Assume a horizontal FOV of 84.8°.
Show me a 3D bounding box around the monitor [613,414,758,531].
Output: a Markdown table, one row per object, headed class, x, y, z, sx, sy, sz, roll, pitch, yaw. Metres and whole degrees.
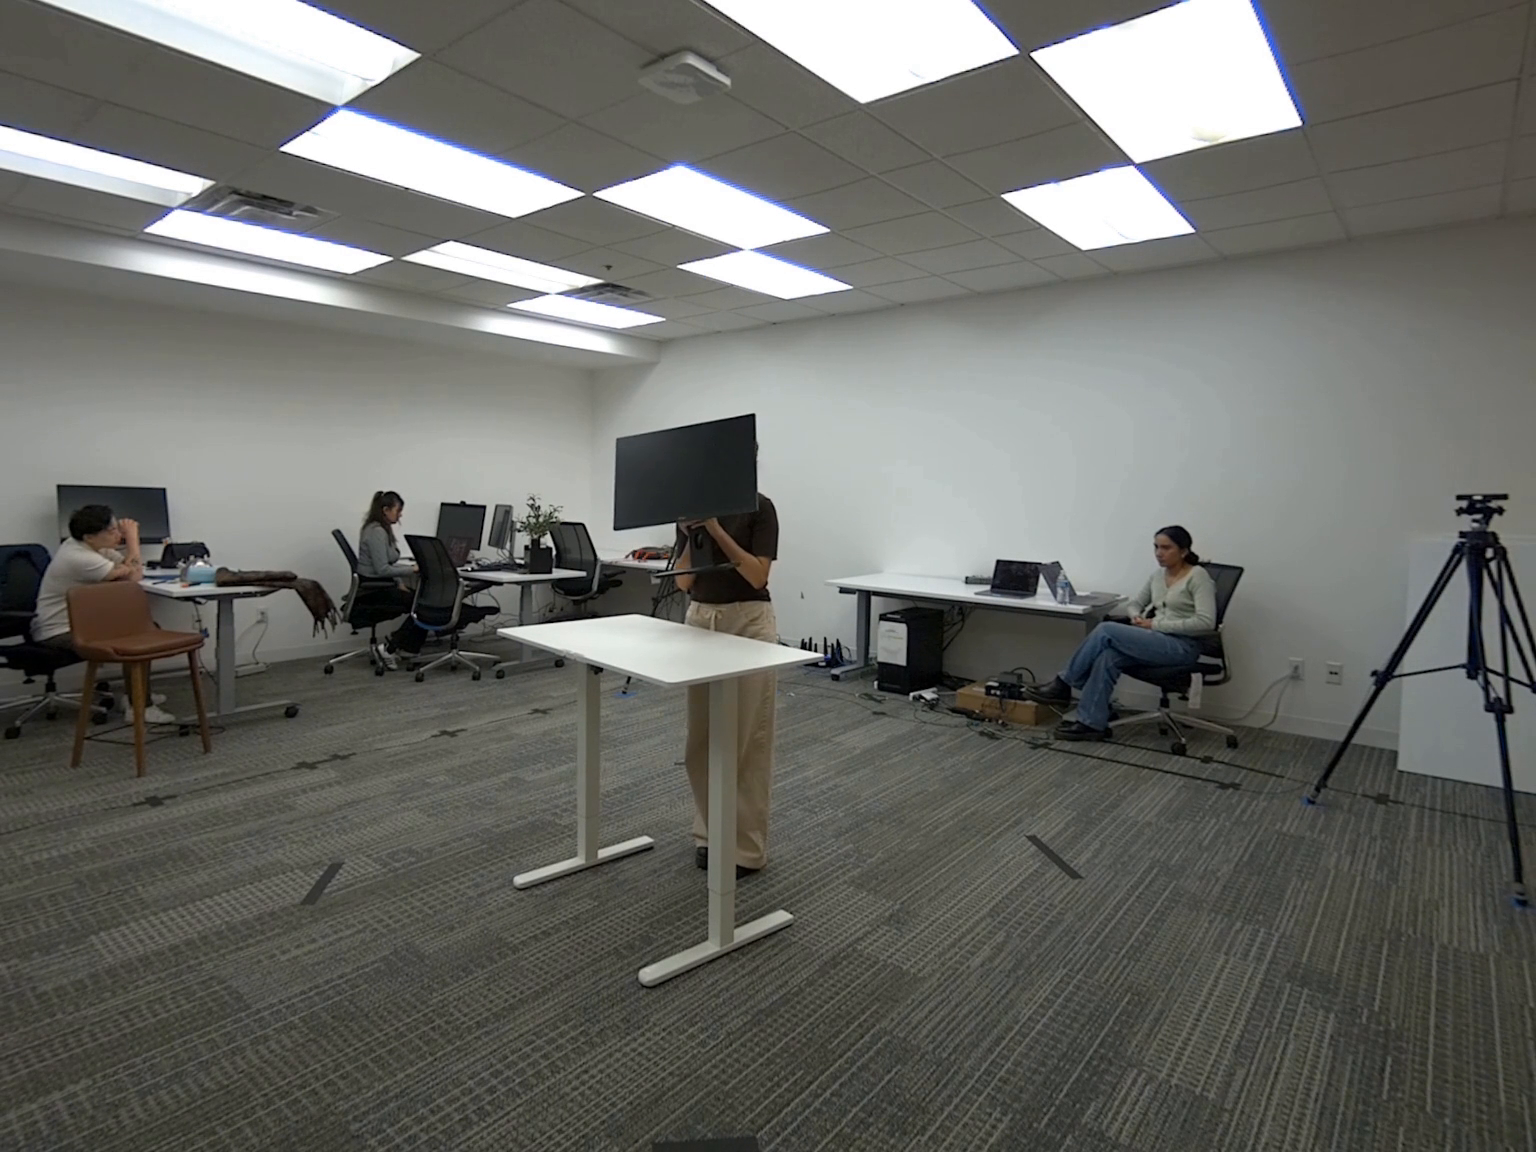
| class | x | y | z | sx | sy | sz | roll | pitch | yaw |
| --- | --- | --- | --- | --- | --- | --- | --- | --- | --- |
| monitor | -0.279 | -0.269 | 2.958 | 0.548 | 0.525 | 0.183 | -7 | -4 | 18 |
